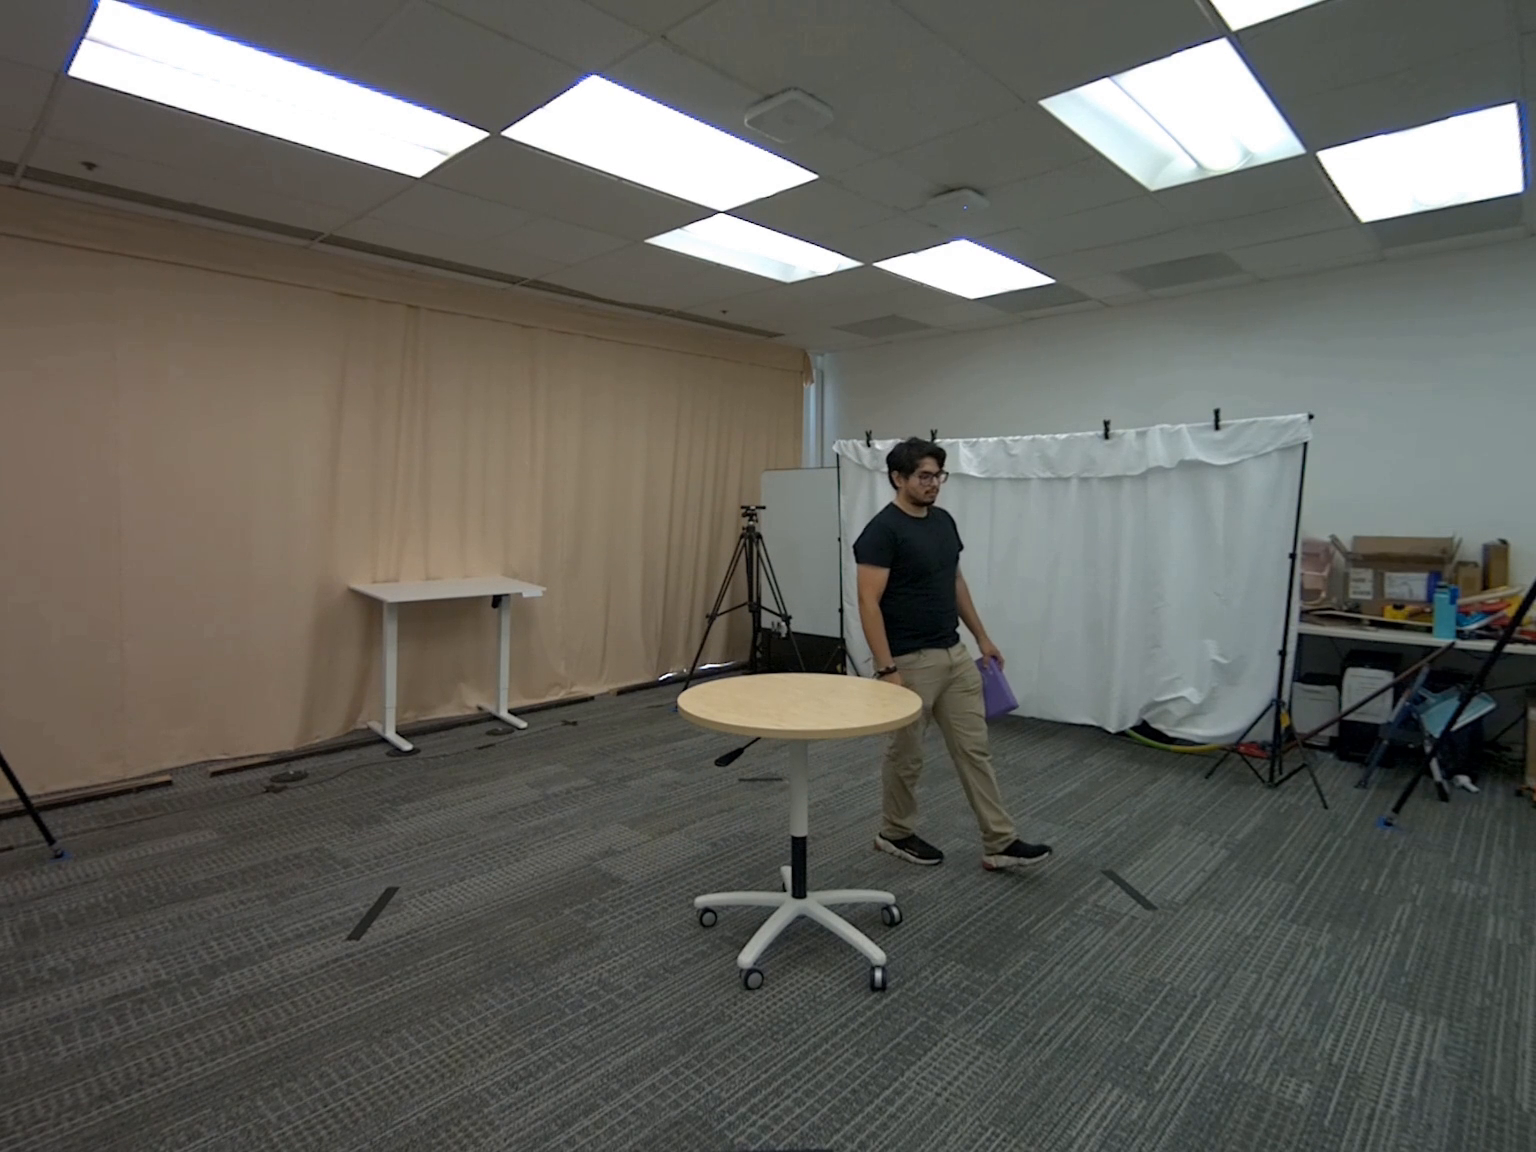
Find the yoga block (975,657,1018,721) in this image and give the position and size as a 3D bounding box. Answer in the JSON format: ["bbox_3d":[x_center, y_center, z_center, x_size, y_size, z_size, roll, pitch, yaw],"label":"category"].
[{"bbox_3d":[0.891,0.447,3.363,0.151,0.234,0.074,-32,-22,26],"label":"yoga block"}]
